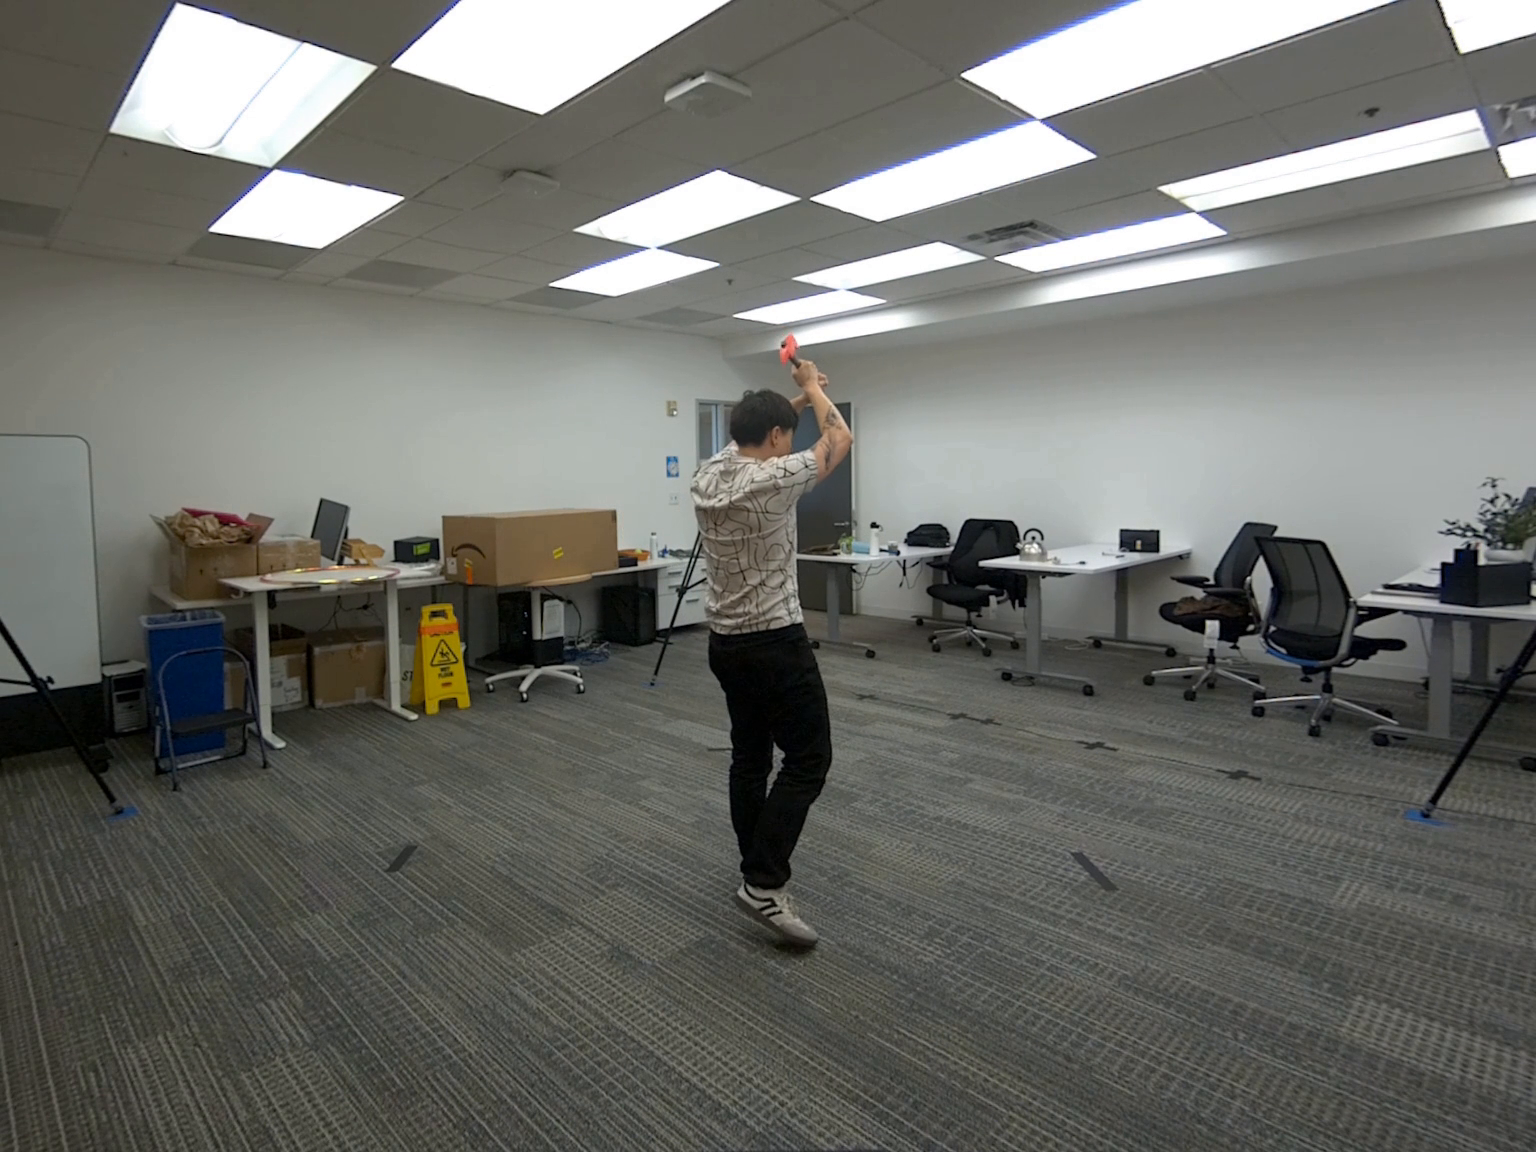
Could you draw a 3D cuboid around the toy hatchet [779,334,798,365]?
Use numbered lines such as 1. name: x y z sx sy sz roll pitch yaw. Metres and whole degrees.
1. toy hatchet: 0.127 -0.727 2.878 0.030 0.133 0.260 -12 -19 35
